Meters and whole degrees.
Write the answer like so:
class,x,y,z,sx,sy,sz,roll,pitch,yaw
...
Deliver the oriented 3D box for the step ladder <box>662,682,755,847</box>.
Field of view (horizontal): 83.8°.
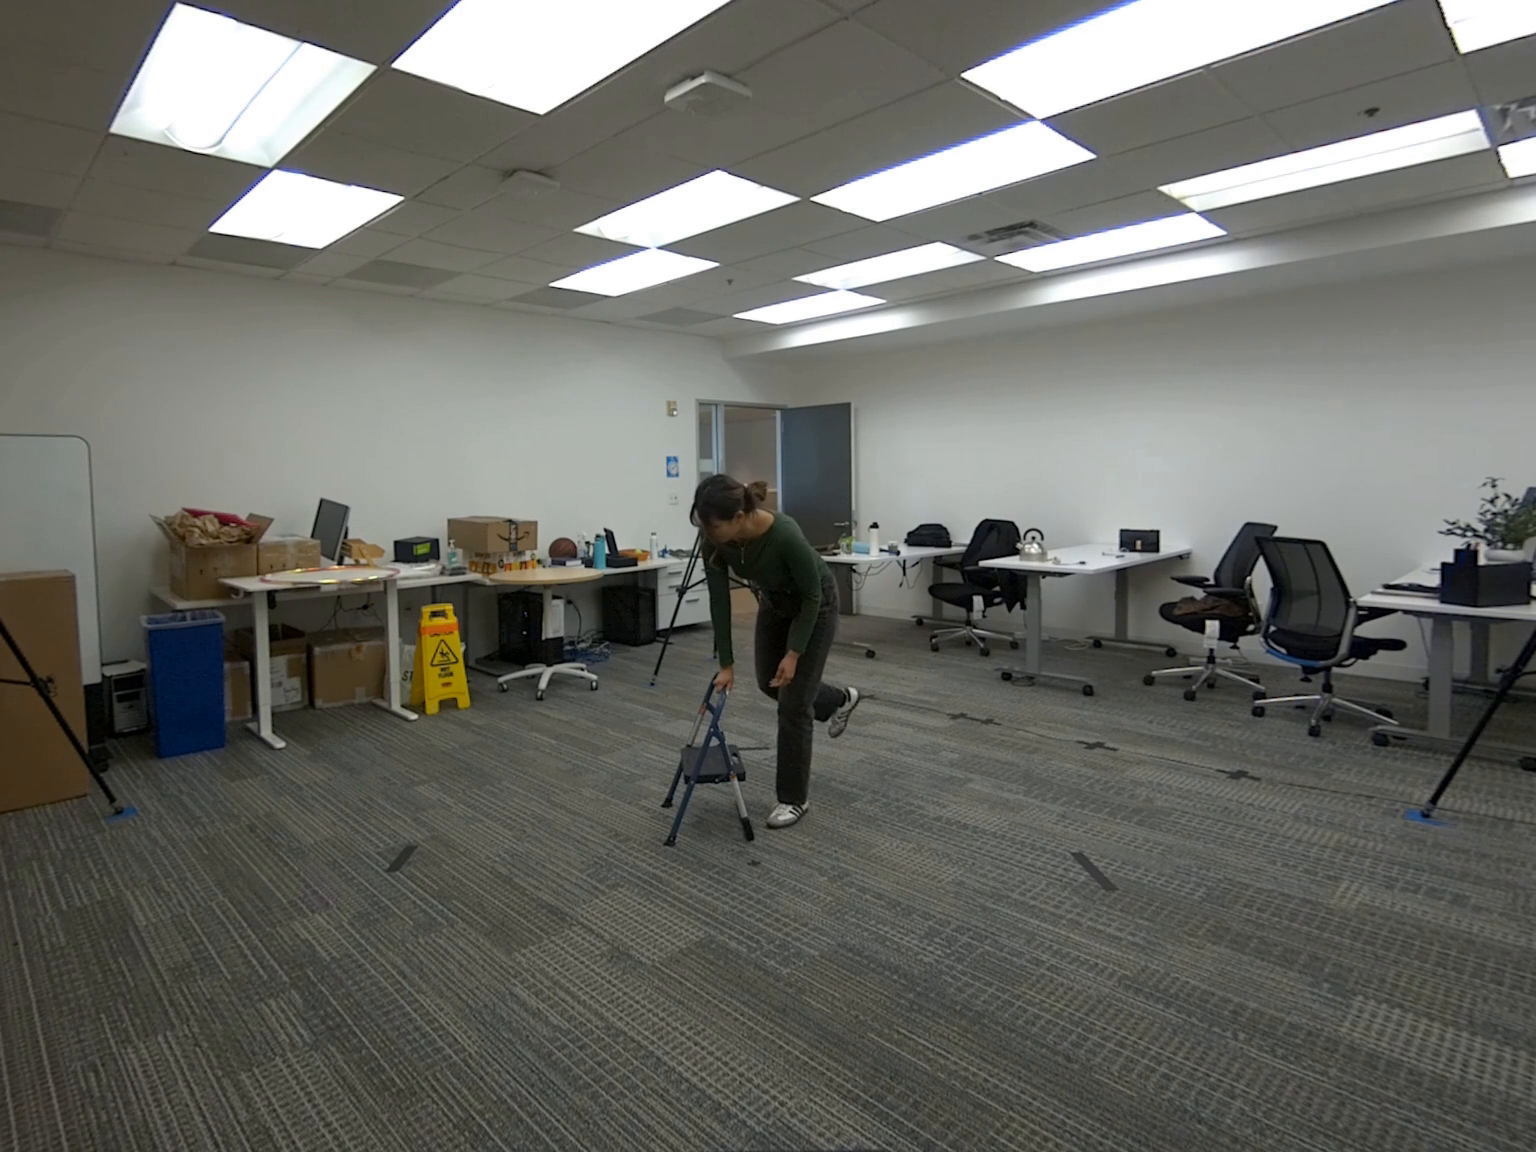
class,x,y,z,sx,sy,sz,roll,pitch,yaw
step ladder,-0.250,0.704,3.464,0.347,0.604,0.435,-1,4,-7
